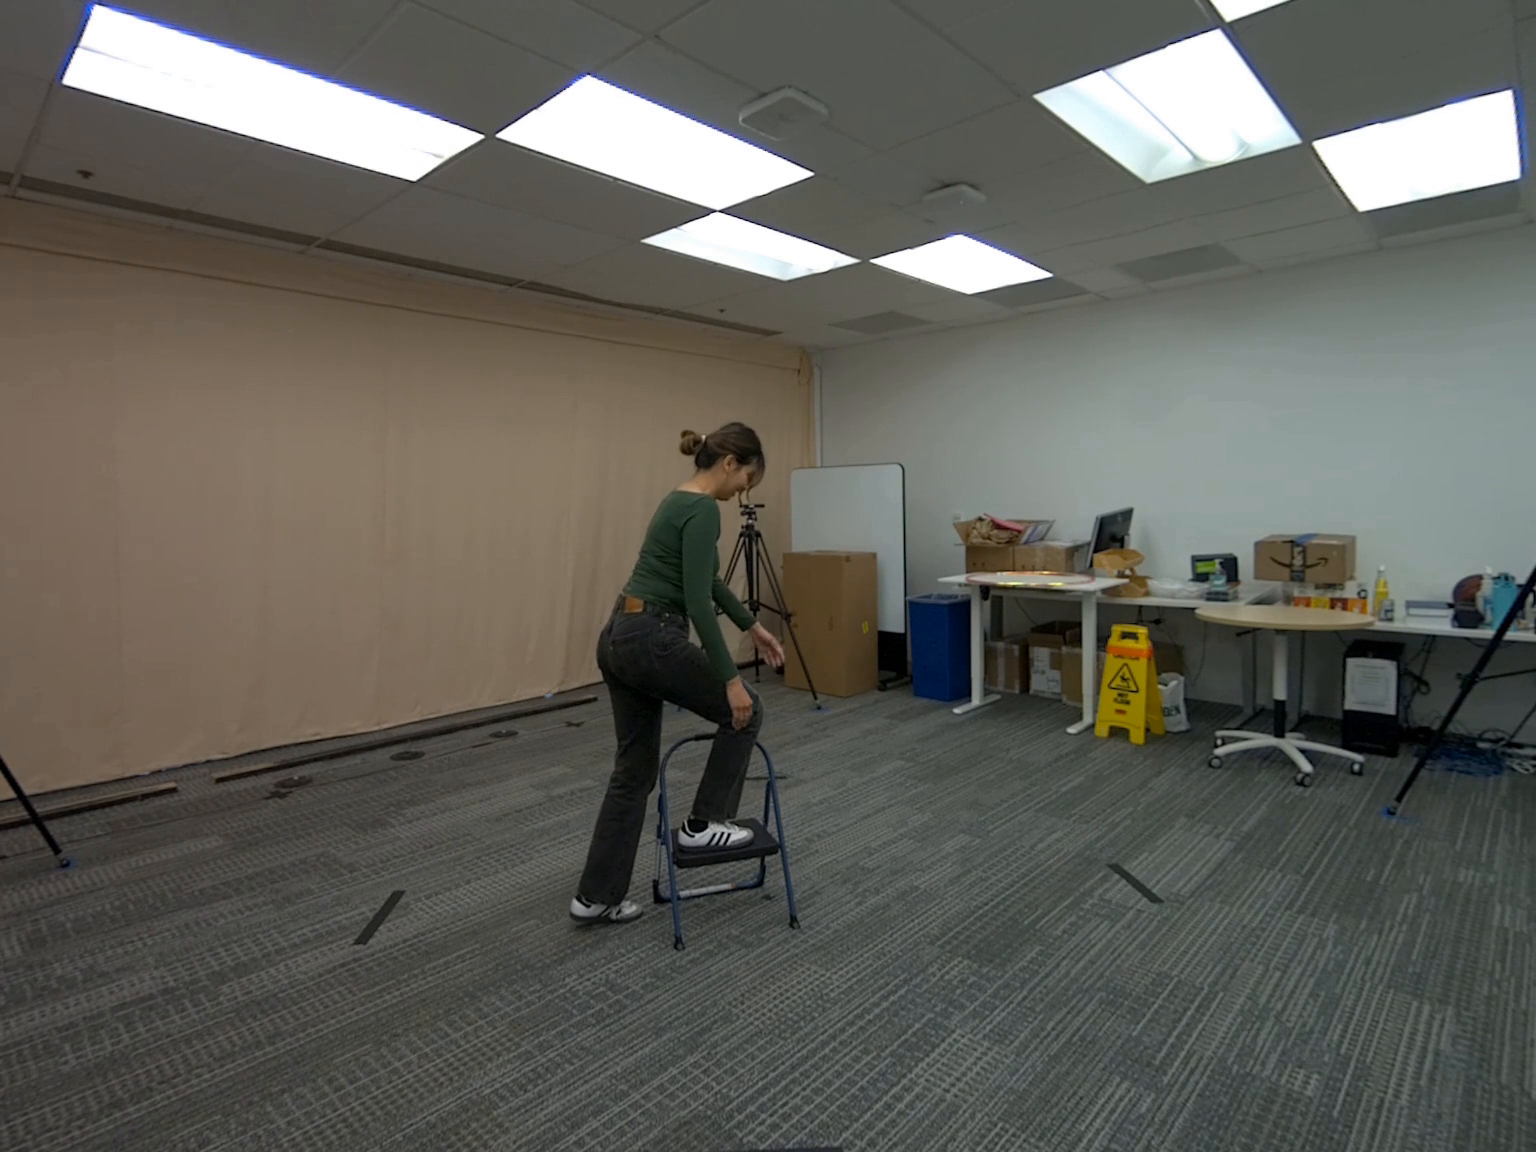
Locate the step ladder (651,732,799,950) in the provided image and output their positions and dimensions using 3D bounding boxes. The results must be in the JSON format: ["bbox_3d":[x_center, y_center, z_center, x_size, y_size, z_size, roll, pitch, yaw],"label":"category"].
[{"bbox_3d":[-0.152,0.853,2.855,0.422,0.605,0.357,-2,3,-20],"label":"step ladder"}]
